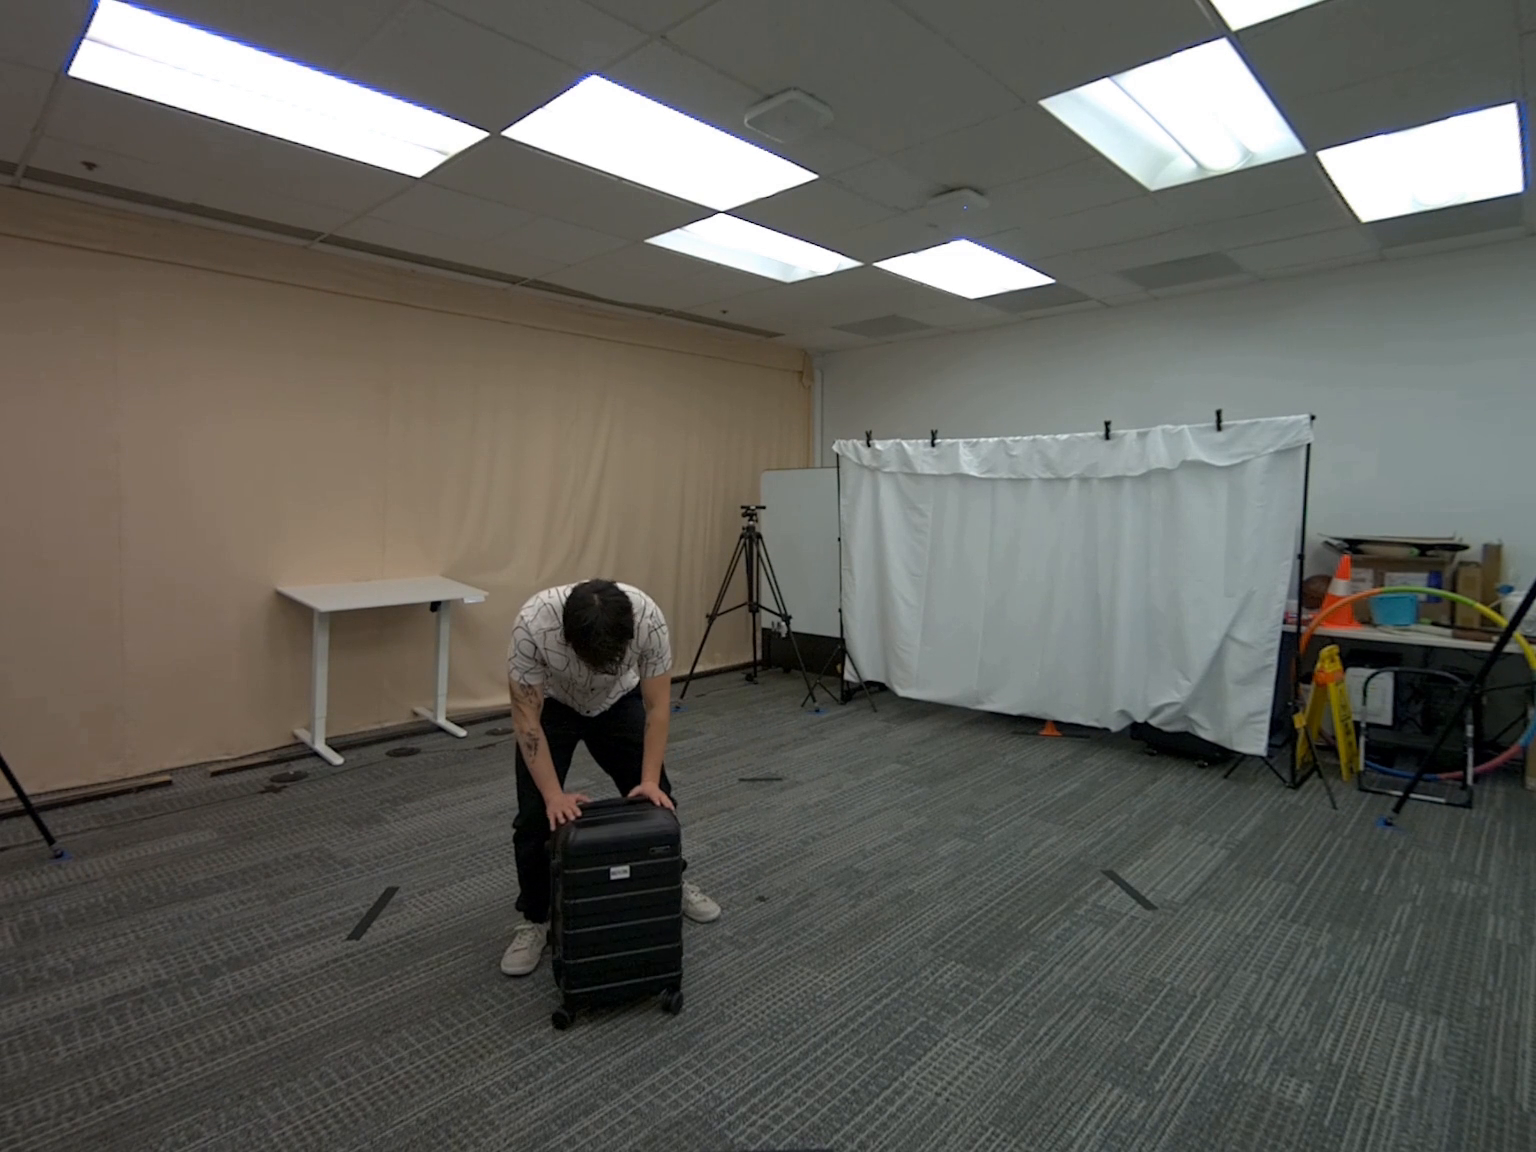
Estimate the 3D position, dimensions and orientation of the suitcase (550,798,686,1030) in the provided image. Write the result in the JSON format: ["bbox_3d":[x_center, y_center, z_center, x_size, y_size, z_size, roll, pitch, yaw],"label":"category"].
[{"bbox_3d":[-0.424,0.924,2.385,0.369,0.548,0.253,-2,3,-17],"label":"suitcase"}]
